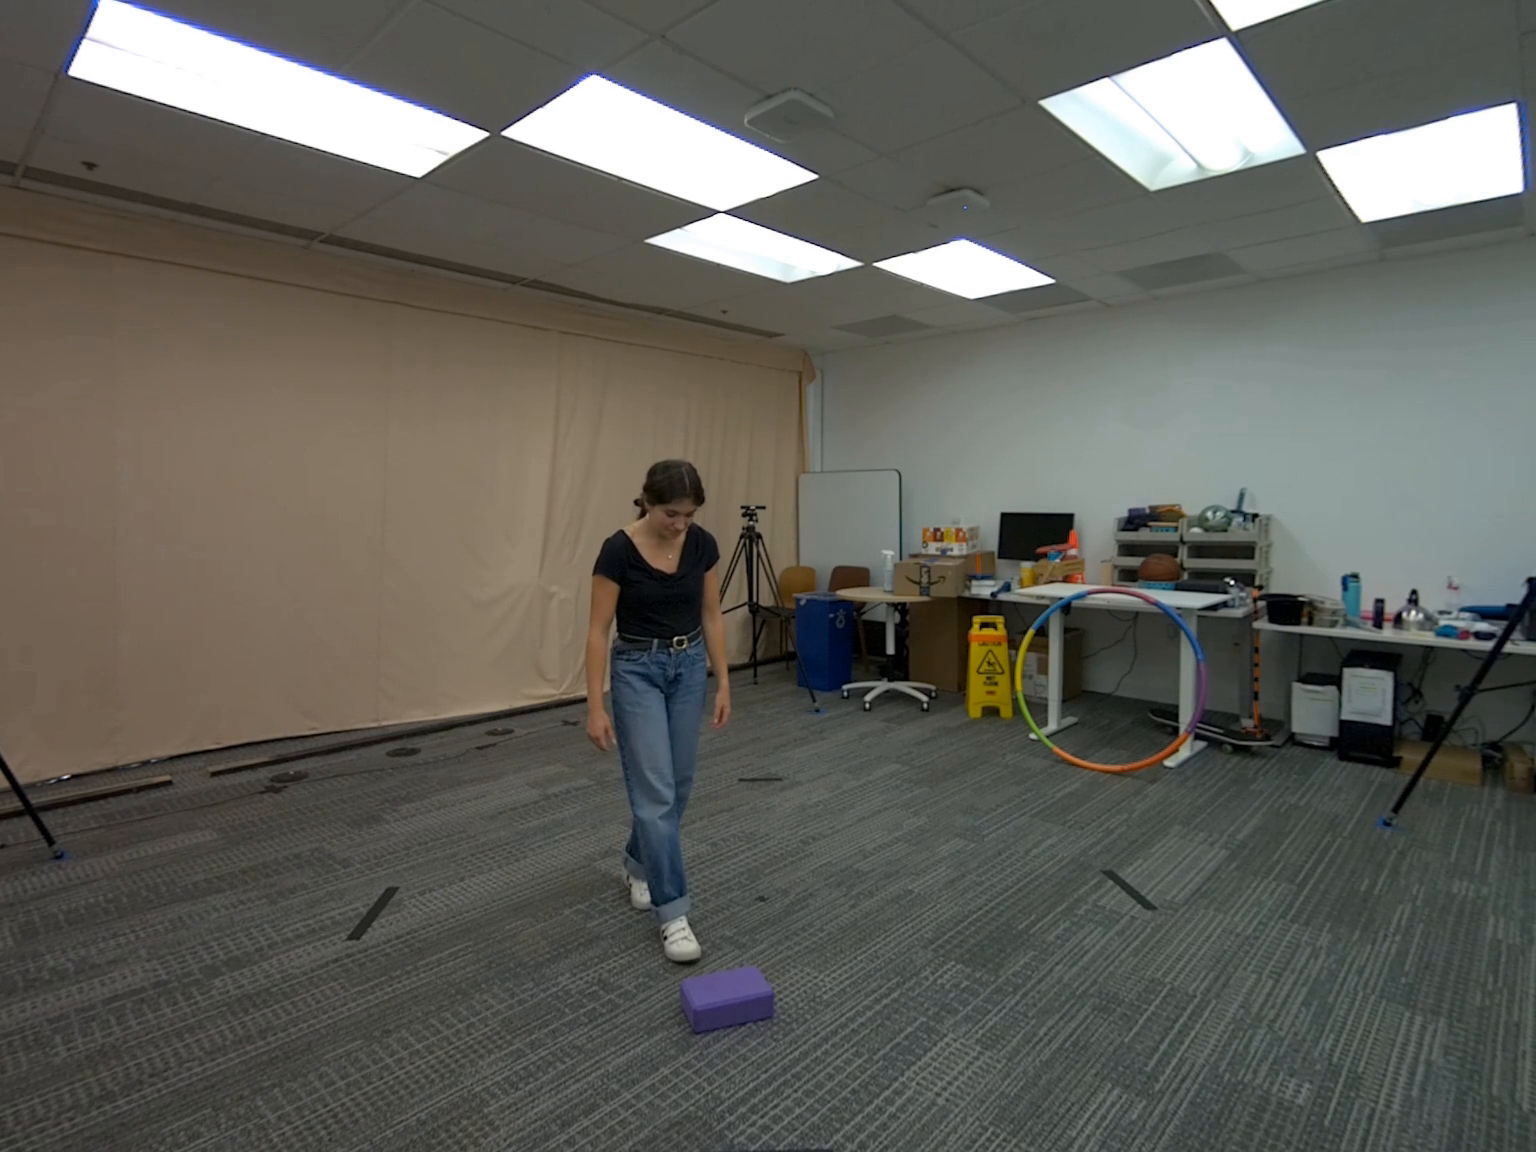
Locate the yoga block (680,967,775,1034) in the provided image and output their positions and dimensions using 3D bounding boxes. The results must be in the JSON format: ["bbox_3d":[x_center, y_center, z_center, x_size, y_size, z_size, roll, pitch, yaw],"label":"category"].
[{"bbox_3d":[-0.106,1.163,2.312,0.225,0.076,0.152,-1,5,-19],"label":"yoga block"}]
